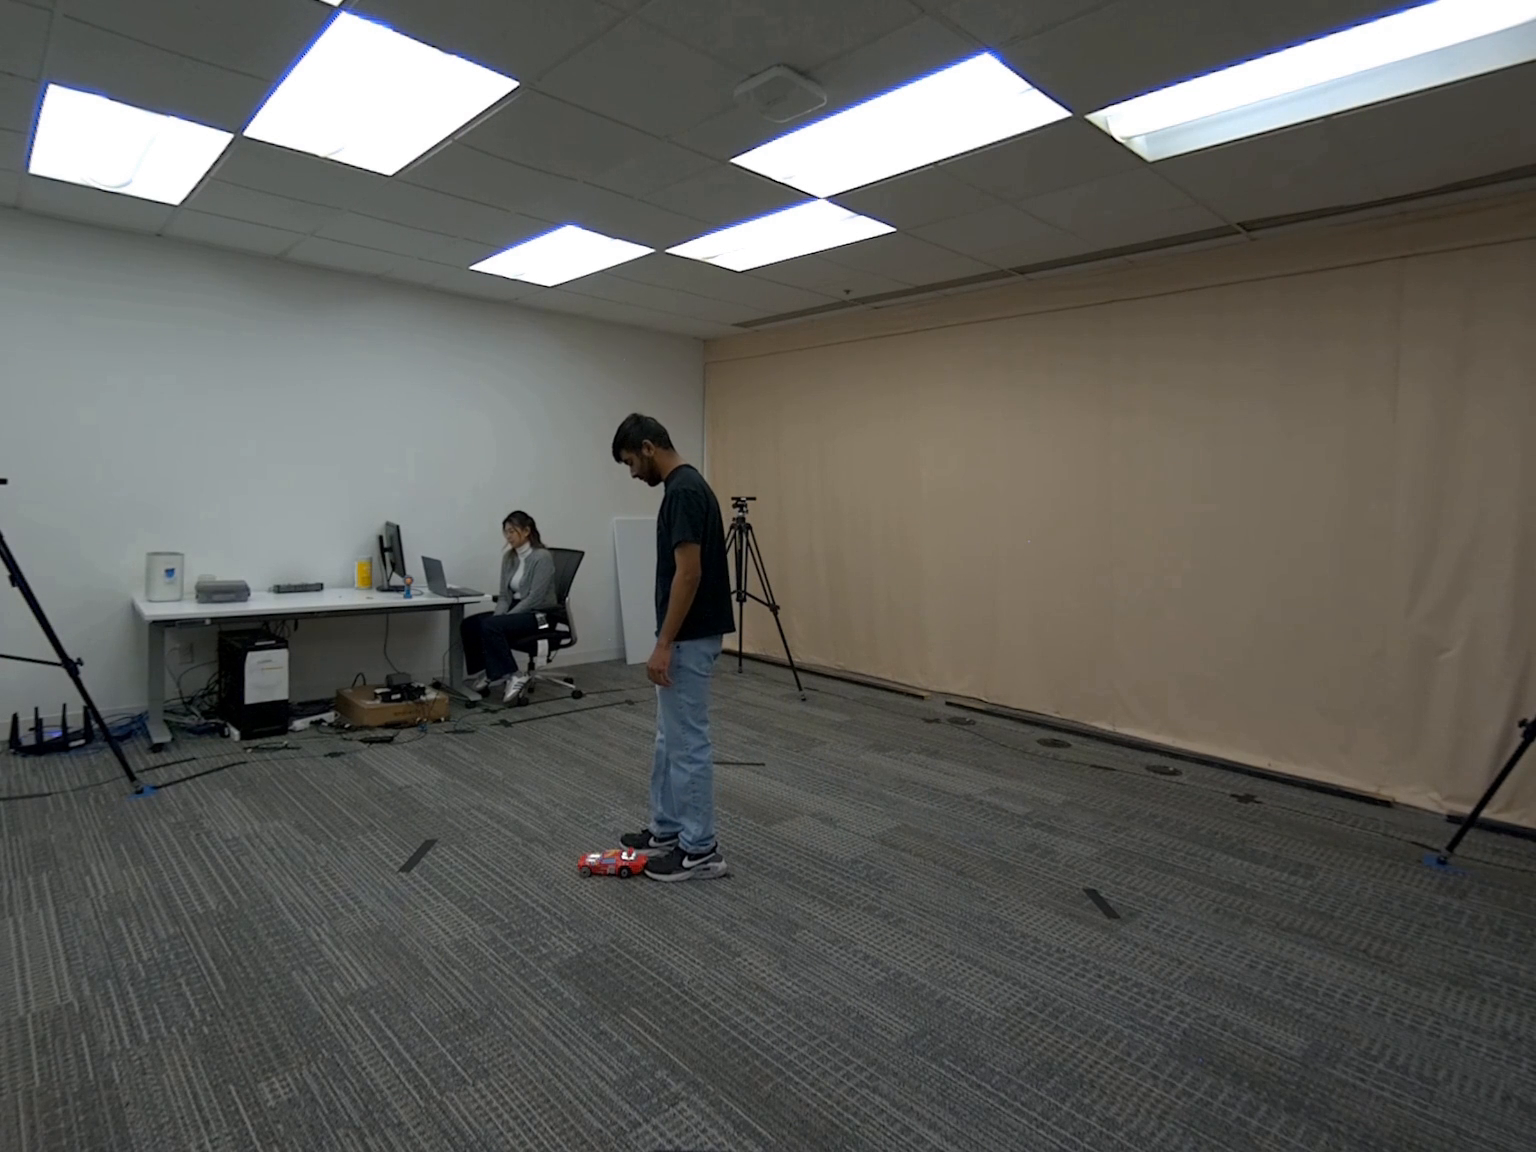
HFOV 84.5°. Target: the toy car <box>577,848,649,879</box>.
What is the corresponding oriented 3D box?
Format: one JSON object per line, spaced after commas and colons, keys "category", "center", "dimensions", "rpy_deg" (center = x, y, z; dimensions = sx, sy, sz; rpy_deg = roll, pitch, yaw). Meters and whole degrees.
{"category": "toy car", "center": [-0.573, 1.057, 3.113], "dimensions": [0.255, 0.083, 0.130], "rpy_deg": [-10, 3, 3]}
